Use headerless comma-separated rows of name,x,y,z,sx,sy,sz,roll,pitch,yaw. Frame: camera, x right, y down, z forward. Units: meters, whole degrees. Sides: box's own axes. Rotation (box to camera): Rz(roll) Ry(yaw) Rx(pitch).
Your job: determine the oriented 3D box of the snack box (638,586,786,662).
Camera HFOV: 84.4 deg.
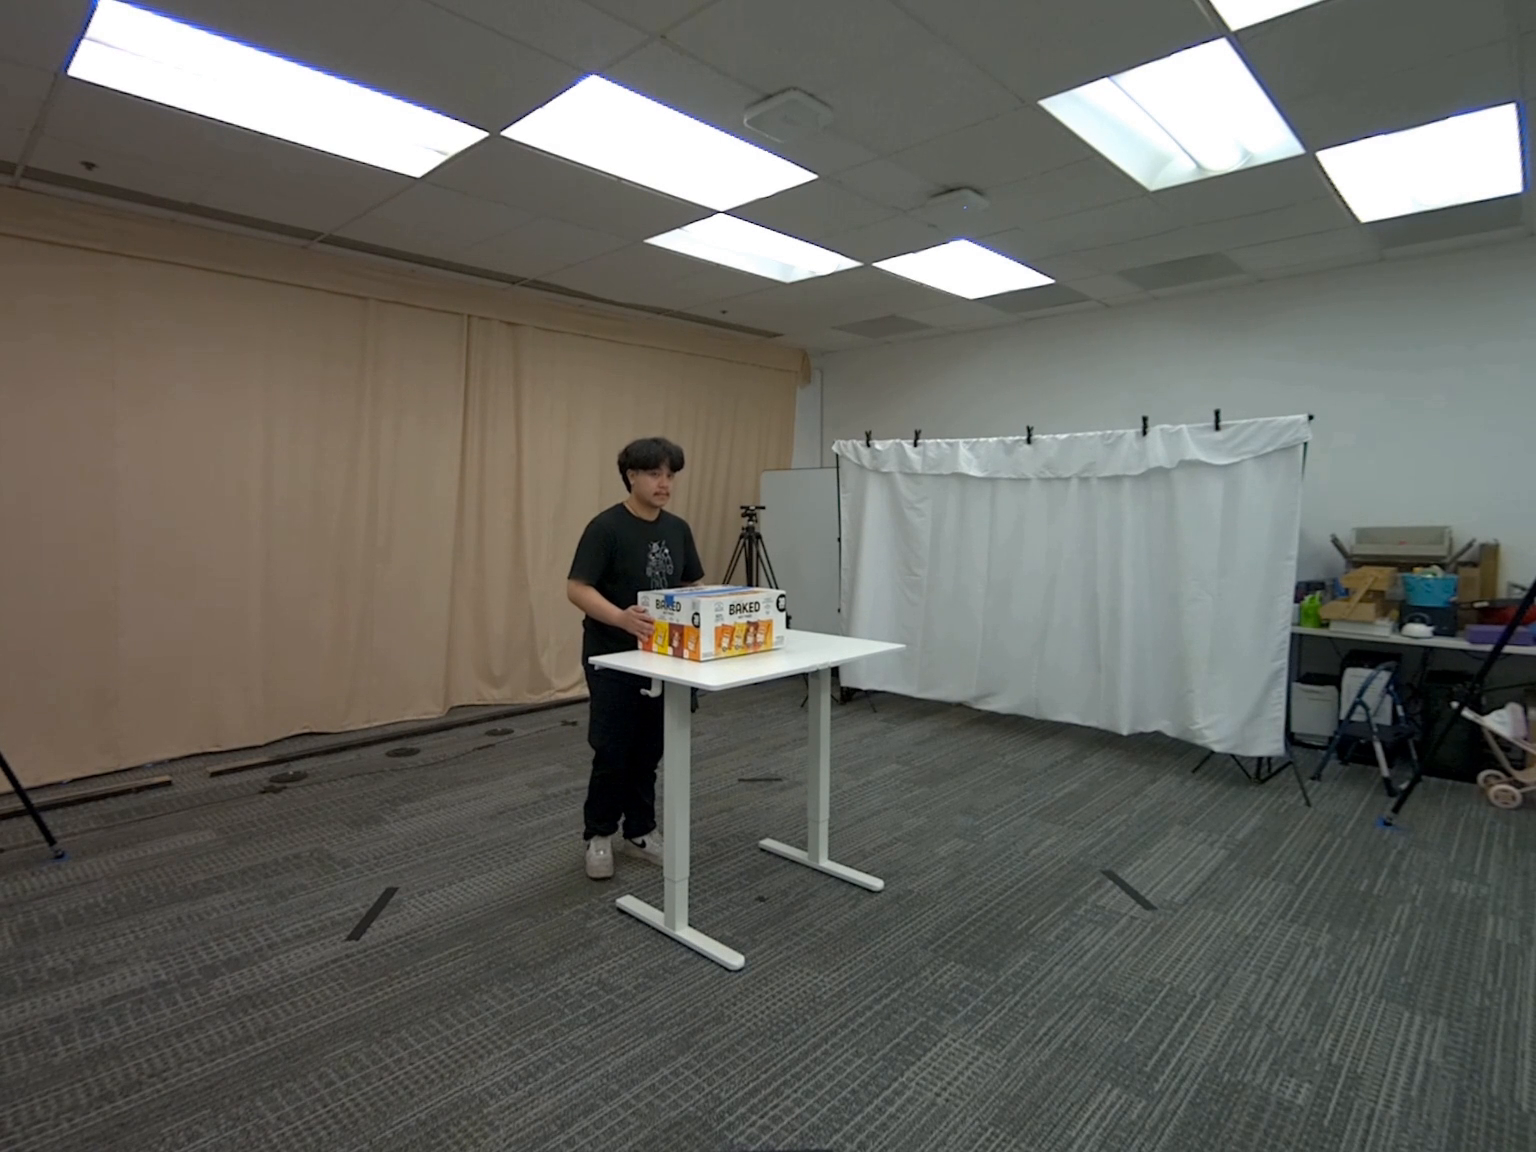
snack box,-0.196,0.153,2.975,0.352,0.205,0.392,5,6,45
